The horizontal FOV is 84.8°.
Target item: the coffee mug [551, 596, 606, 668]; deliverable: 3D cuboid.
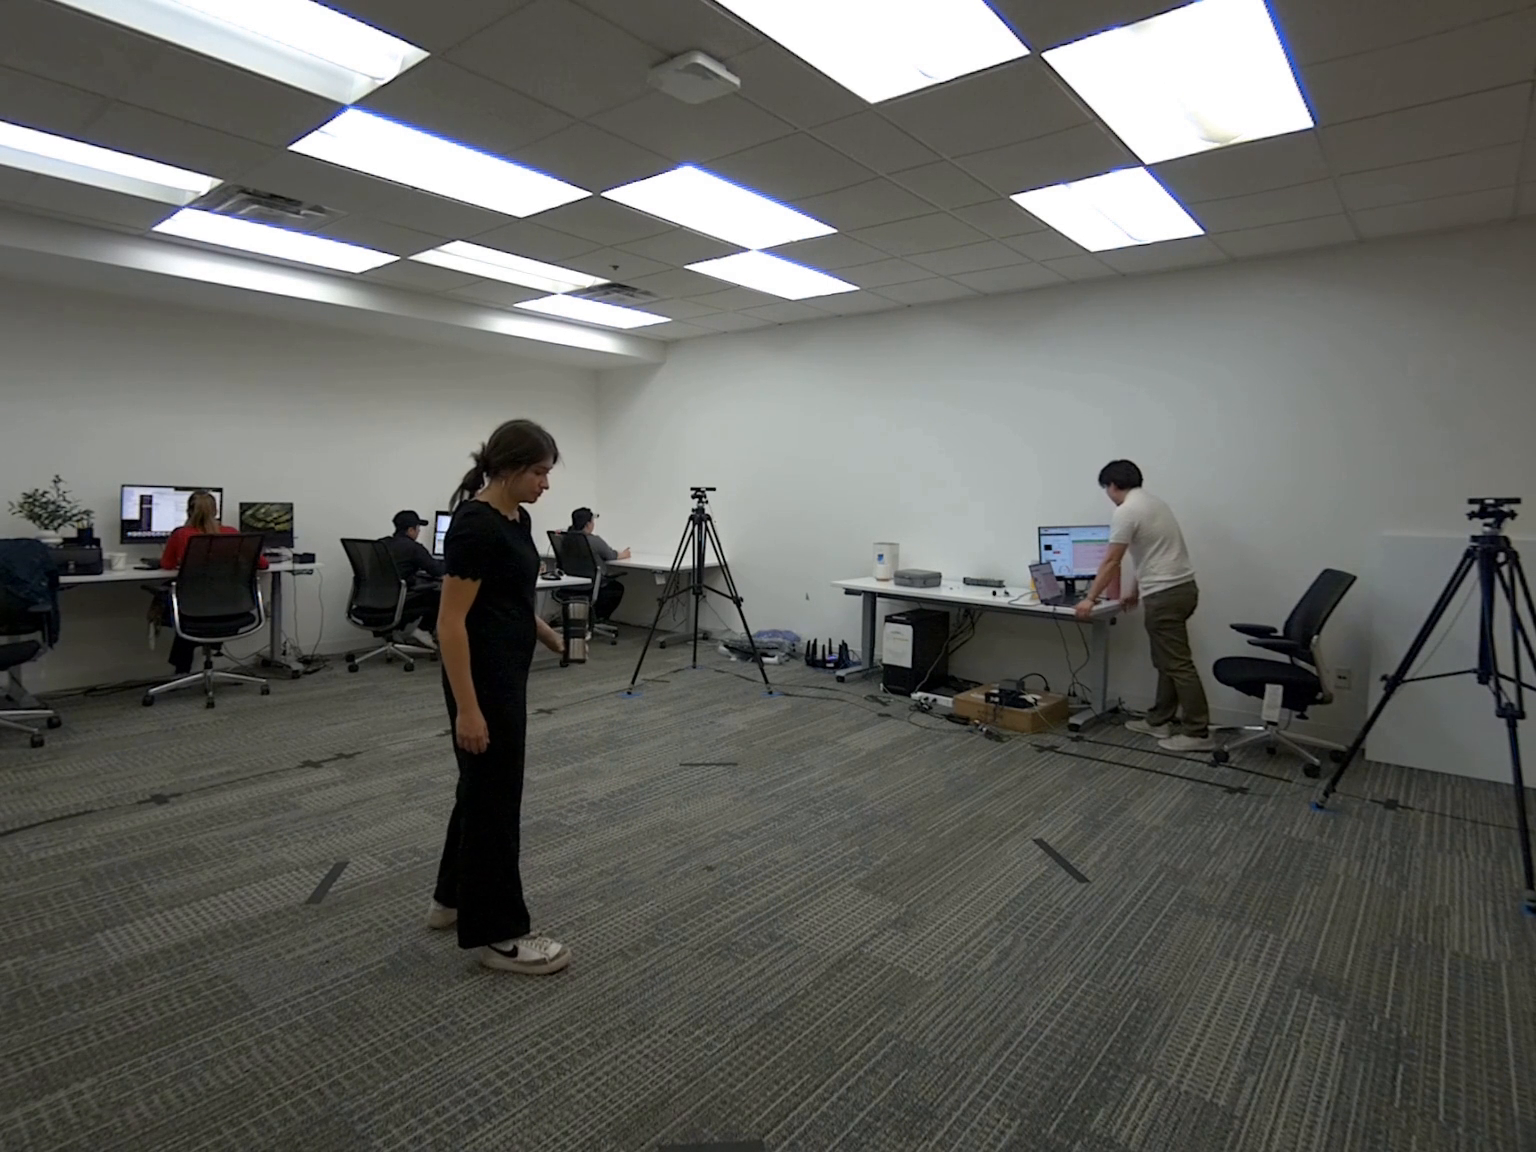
[{"bbox_3d":[-0.593,0.173,2.615,0.118,0.206,0.089,1,-15,-35],"label":"coffee mug"}]
